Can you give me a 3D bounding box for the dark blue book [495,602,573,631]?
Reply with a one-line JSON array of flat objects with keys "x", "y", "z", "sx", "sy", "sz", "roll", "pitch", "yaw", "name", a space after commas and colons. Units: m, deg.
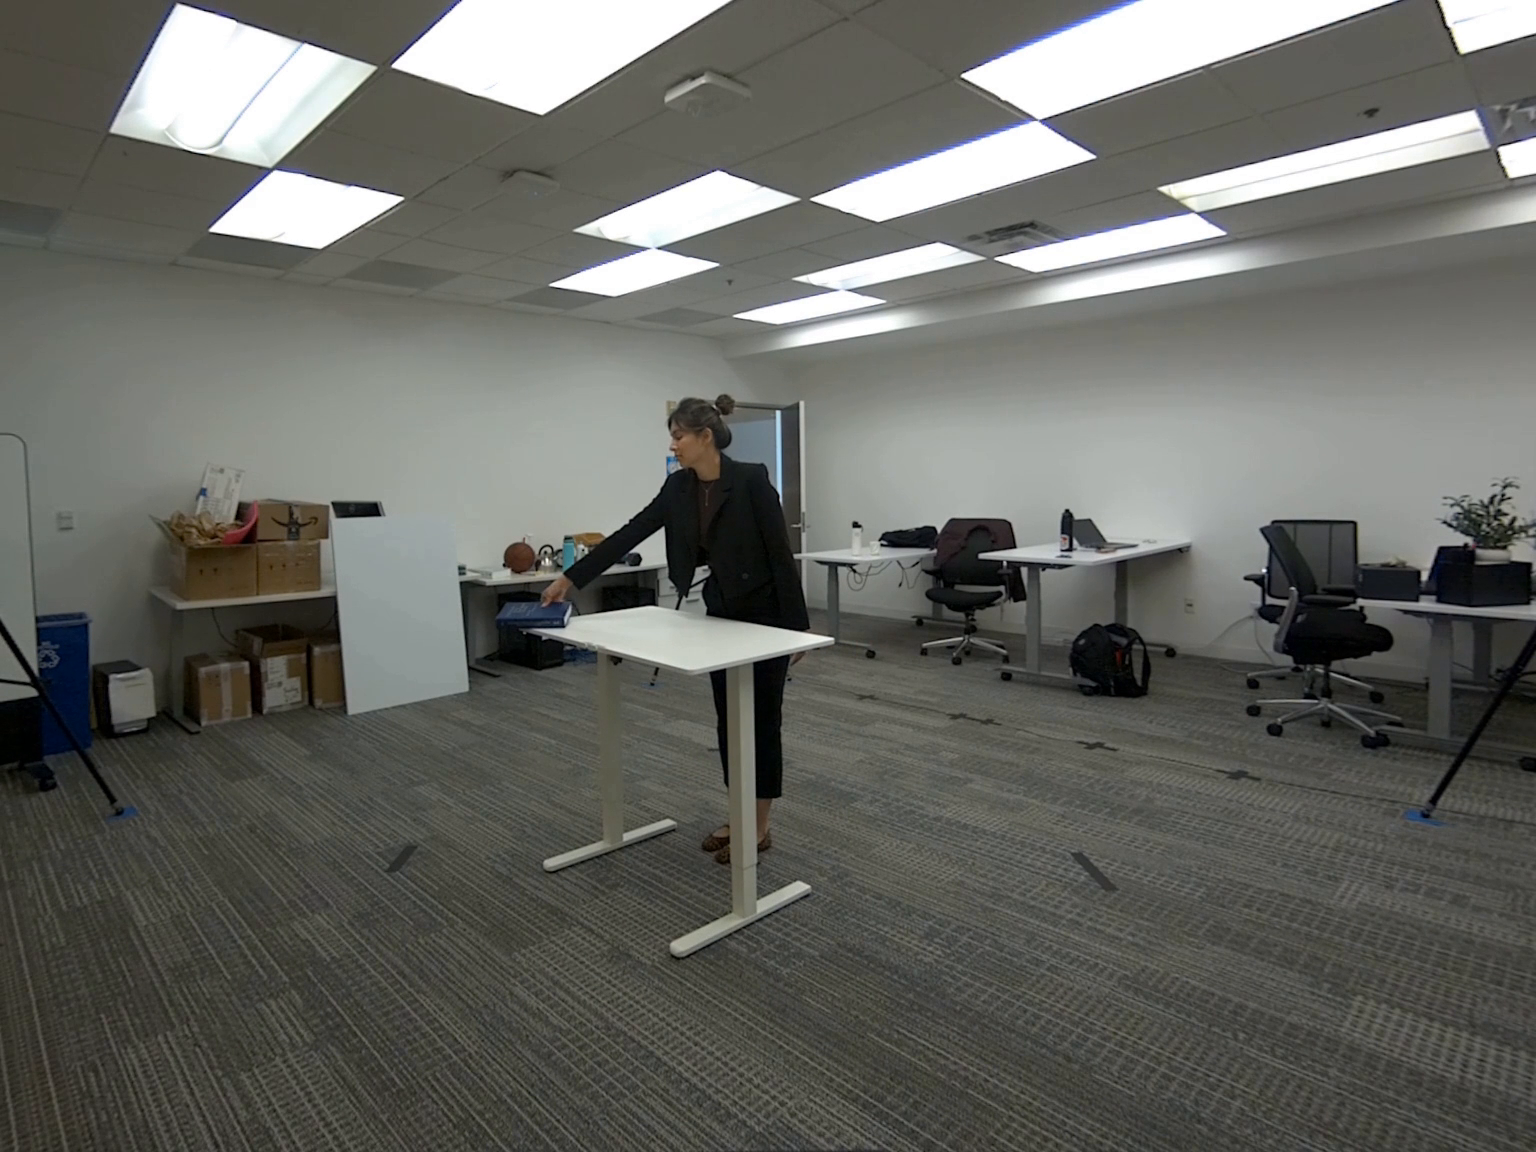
[{"x": -0.846, "y": 0.147, "z": 3.090, "sx": 0.245, "sy": 0.044, "sz": 0.166, "roll": -2, "pitch": 17, "yaw": 0, "name": "dark blue book"}]
